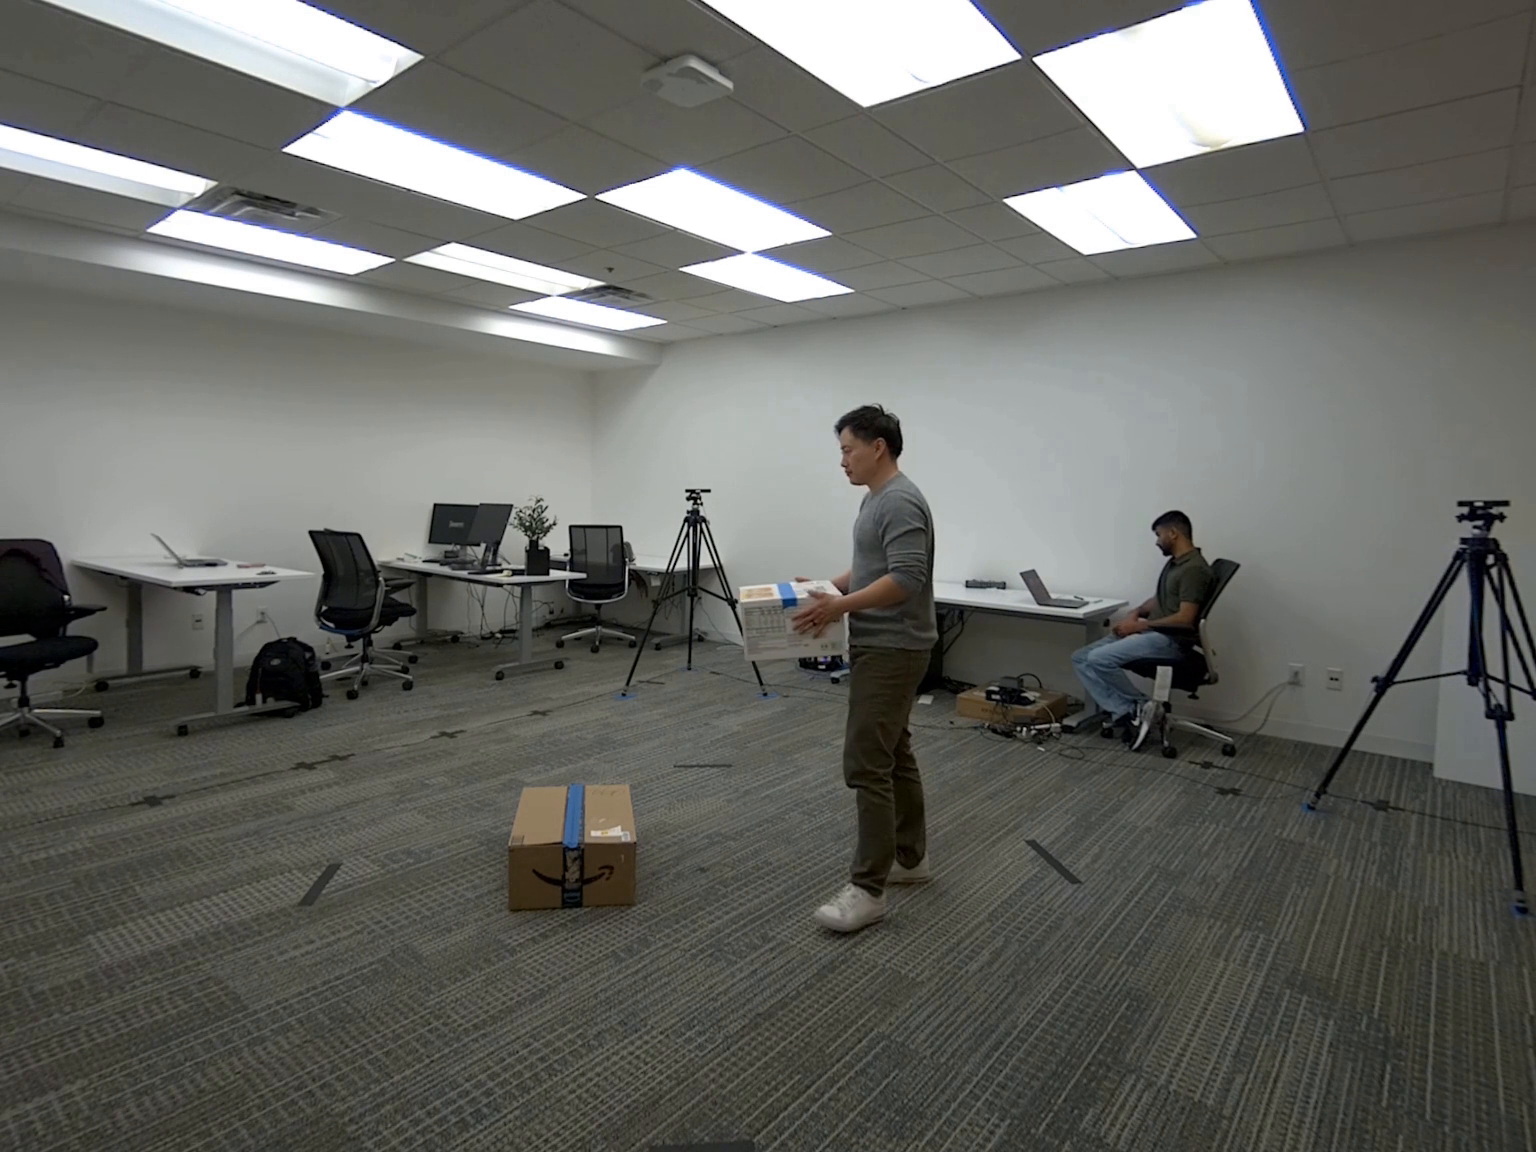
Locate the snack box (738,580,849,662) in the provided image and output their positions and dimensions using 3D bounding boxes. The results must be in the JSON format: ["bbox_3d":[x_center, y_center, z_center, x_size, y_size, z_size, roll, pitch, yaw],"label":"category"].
[{"bbox_3d":[0.063,0.149,3.012,0.340,0.204,0.408,-4,7,-1],"label":"snack box"}]
